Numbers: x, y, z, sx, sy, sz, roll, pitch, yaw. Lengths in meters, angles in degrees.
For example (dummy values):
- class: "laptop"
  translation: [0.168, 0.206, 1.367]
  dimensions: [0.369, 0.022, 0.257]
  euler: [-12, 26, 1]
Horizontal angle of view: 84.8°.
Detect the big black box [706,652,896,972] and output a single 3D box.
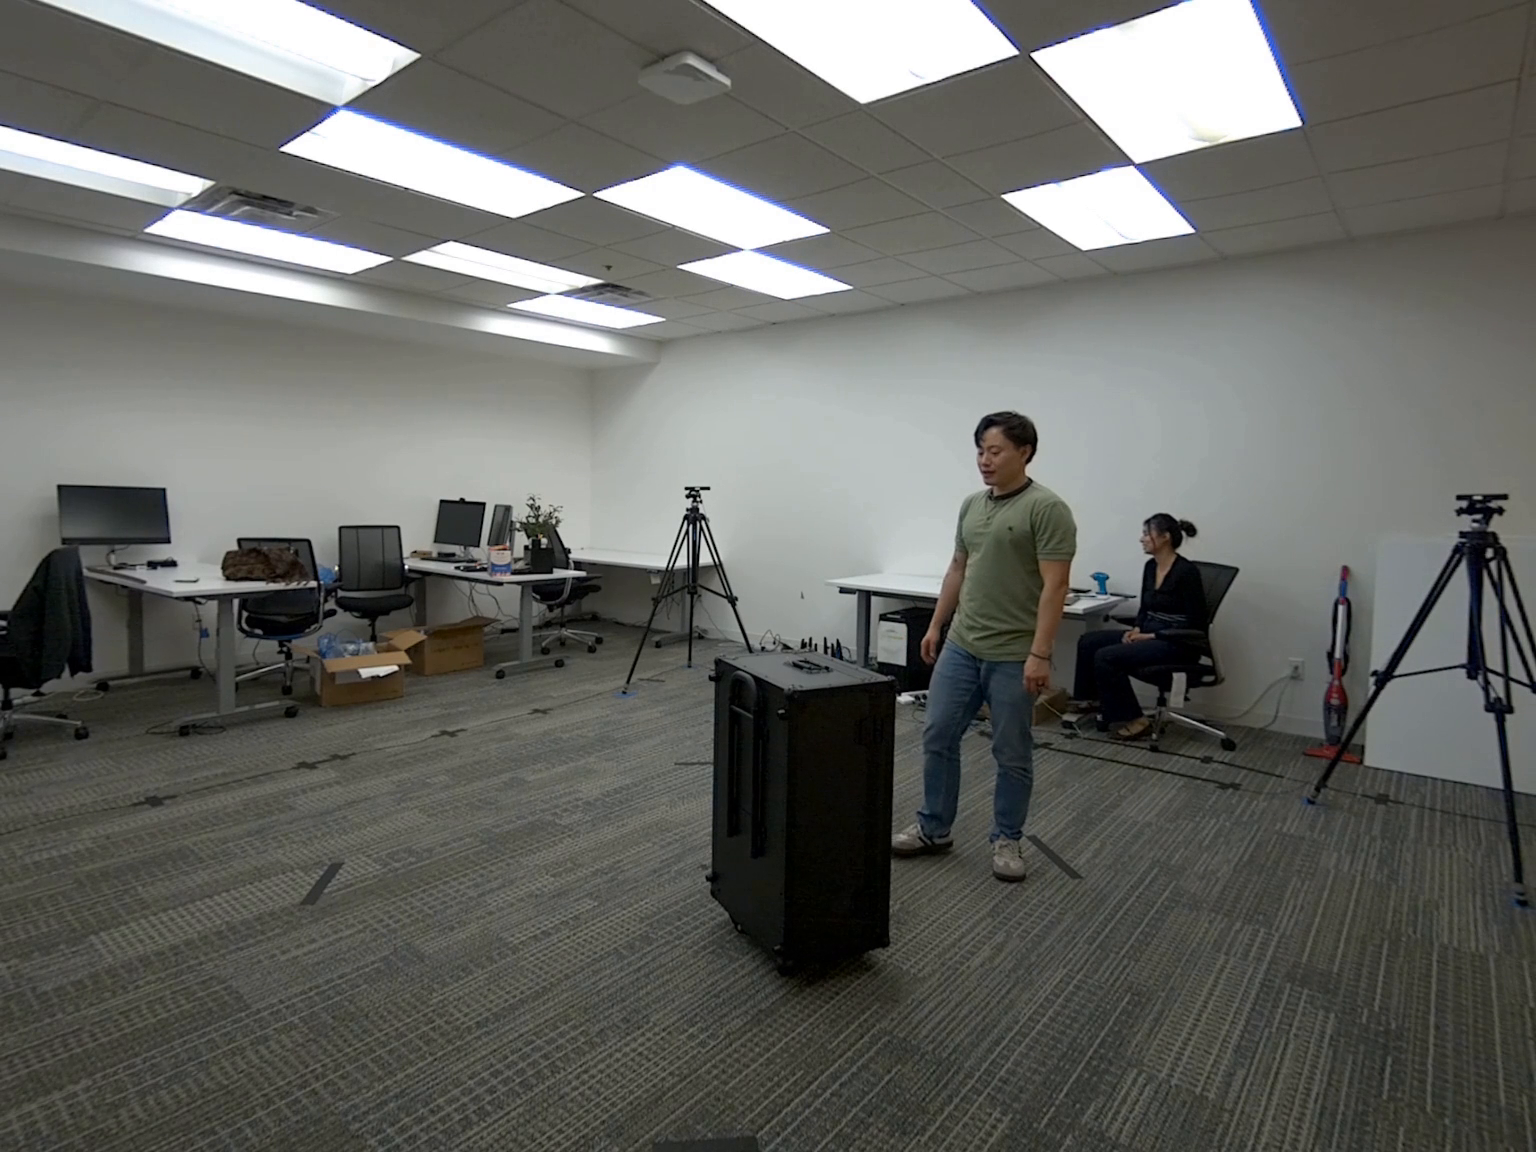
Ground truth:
- class: "big black box"
  translation: [0.082, 0.694, 2.576]
  dimensions: [0.386, 0.858, 0.536]
  euler: [-1, 5, -27]
